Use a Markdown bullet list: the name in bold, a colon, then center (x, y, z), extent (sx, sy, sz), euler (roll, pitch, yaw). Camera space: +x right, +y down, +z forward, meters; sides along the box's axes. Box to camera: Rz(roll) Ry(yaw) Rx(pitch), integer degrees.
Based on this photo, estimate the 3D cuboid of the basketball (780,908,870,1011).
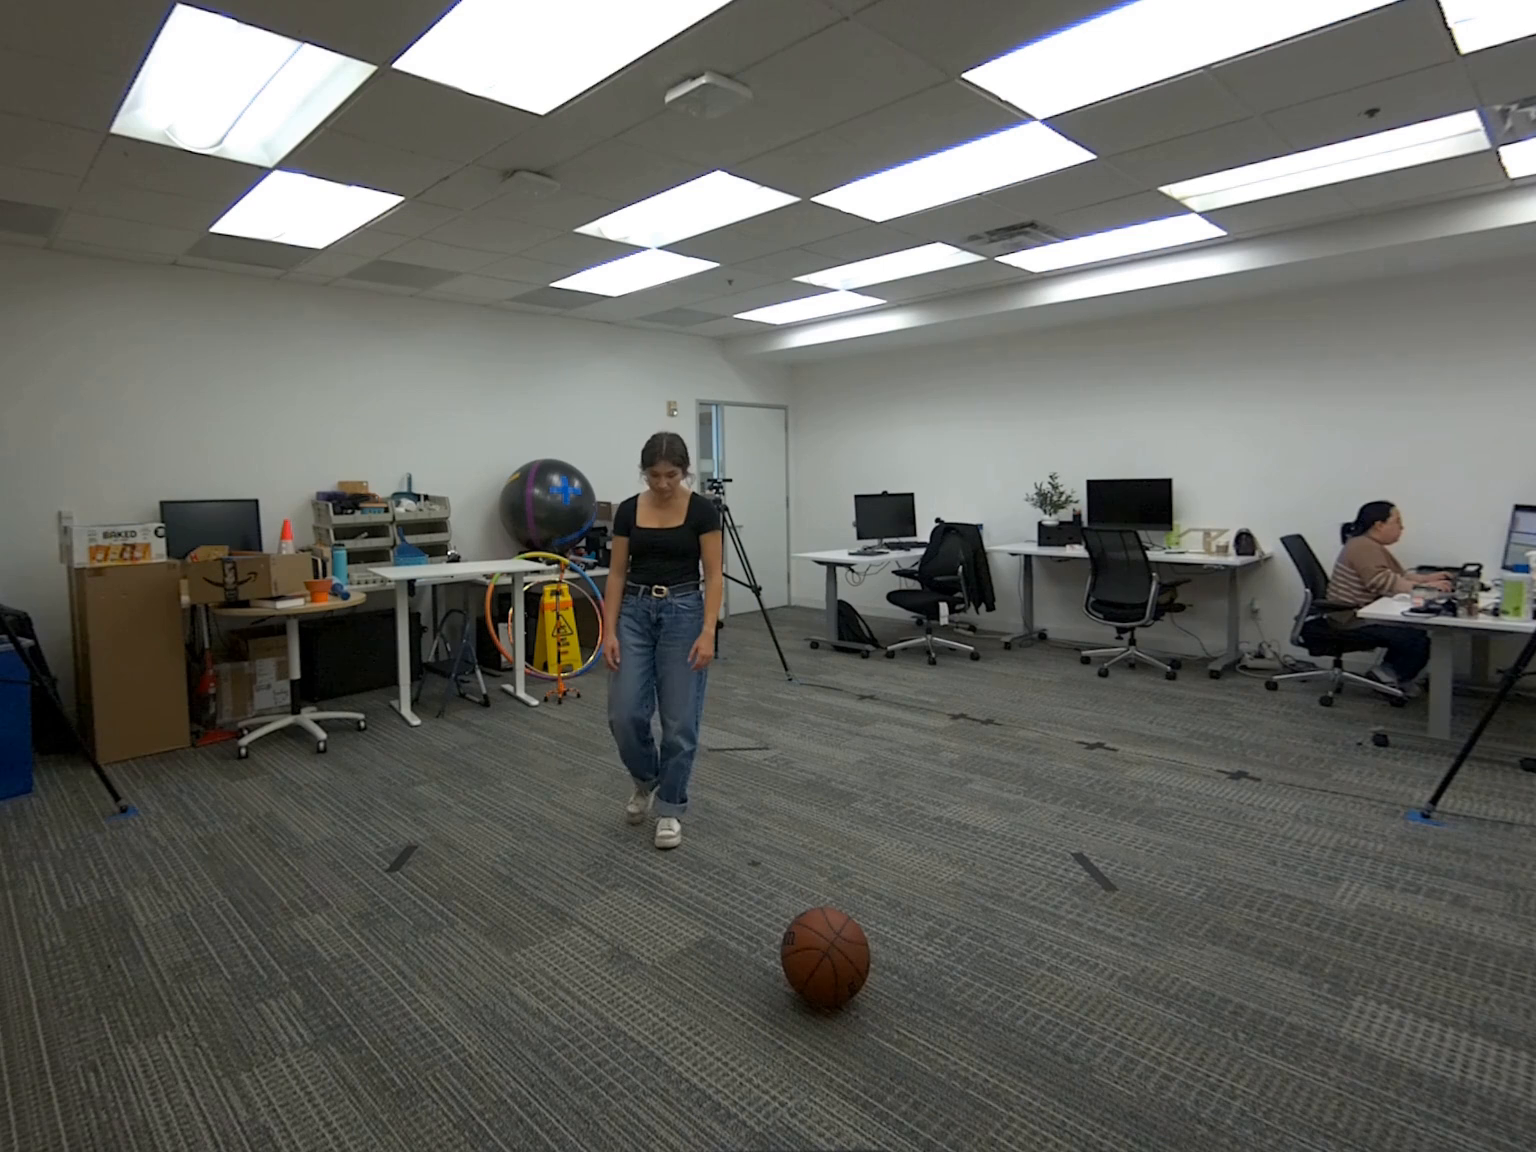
- **basketball**: center (0.162, 1.015, 2.286), extent (0.236, 0.235, 0.237), euler (-1, 5, -2)
